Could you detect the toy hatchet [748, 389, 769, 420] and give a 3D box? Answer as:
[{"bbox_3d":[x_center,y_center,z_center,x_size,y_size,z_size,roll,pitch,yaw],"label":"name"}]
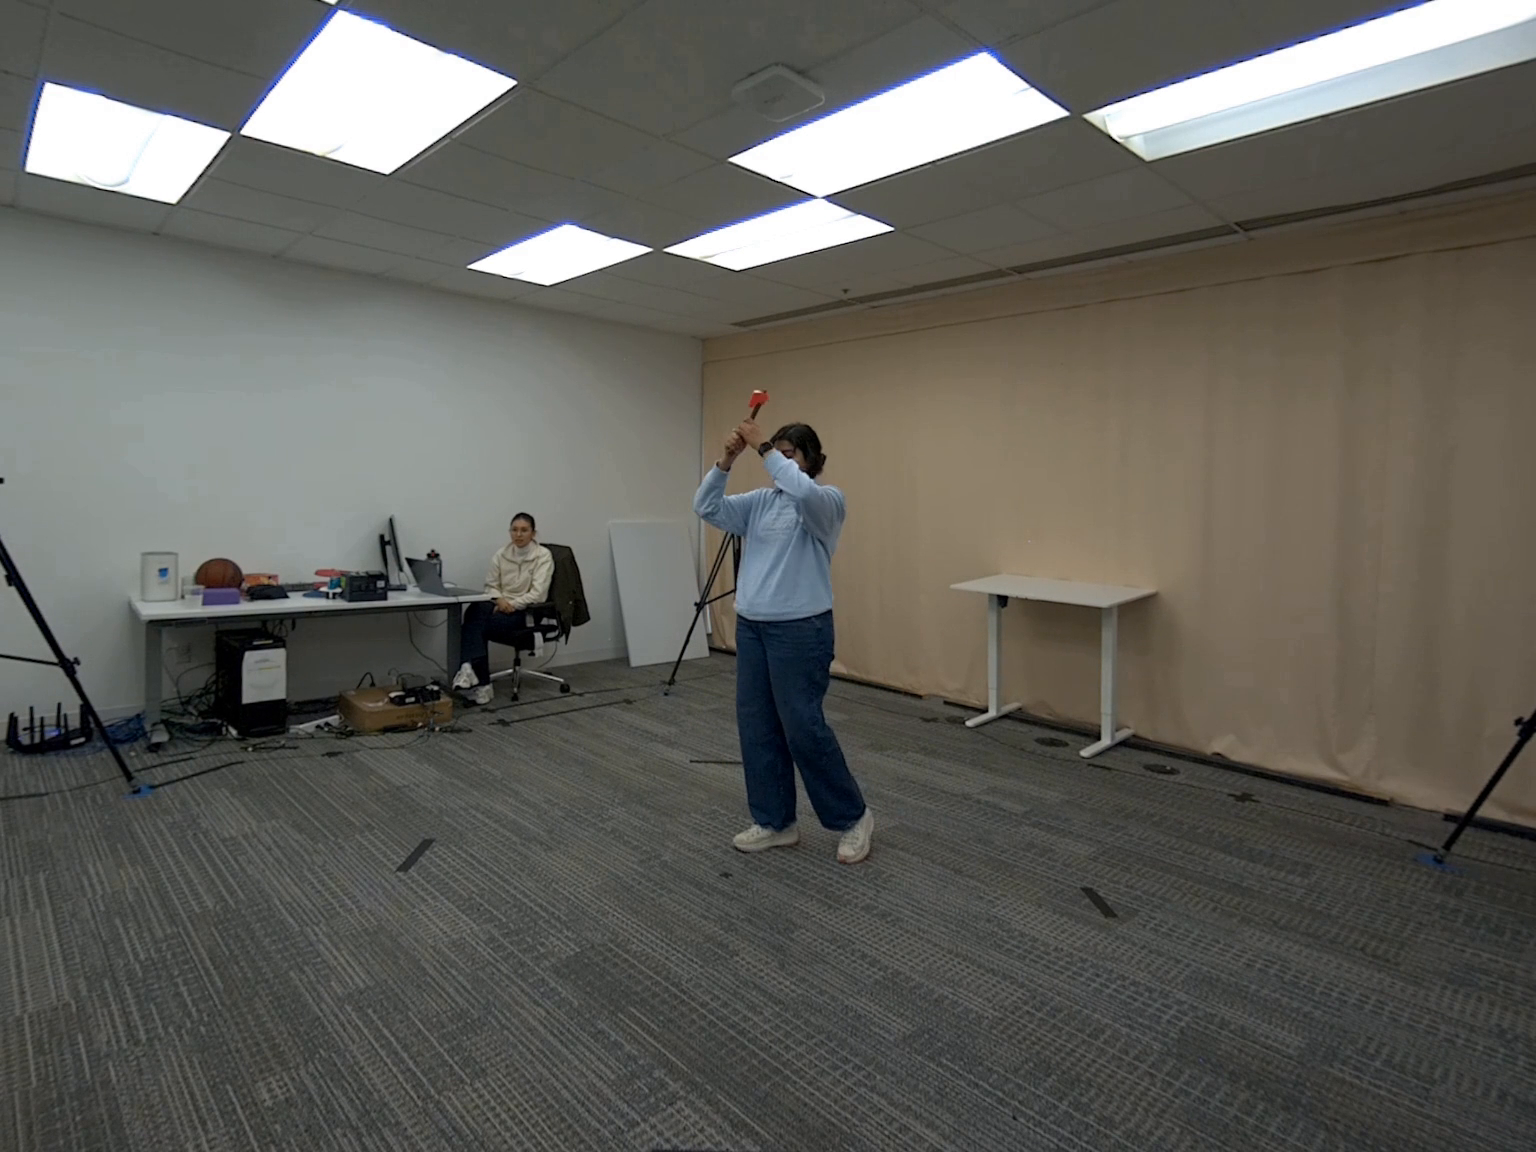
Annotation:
[{"bbox_3d":[-0.082,-0.566,3.092,0.030,0.270,0.128,27,-9,19],"label":"toy hatchet"}]
